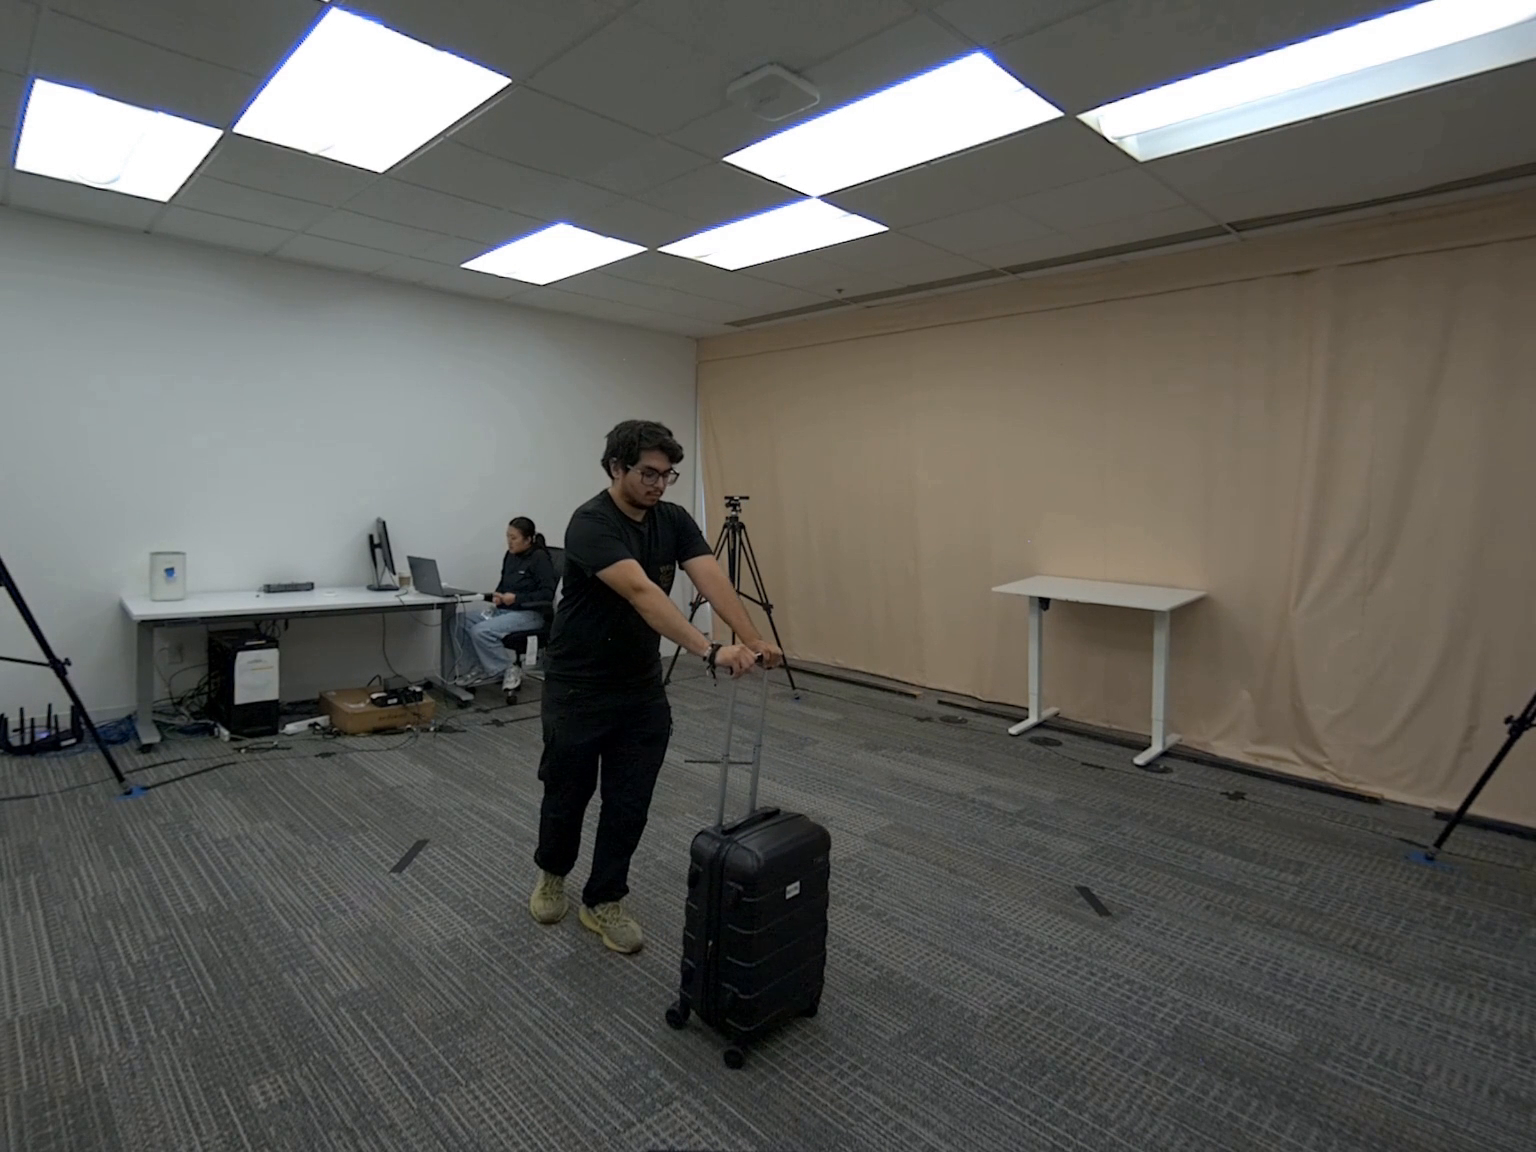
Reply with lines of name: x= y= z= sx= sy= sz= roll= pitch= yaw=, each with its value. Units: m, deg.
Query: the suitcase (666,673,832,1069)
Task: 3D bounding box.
suitcase: x=-0.014 y=0.718 z=2.200 sx=0.264 sy=0.975 sz=0.375 roll=10 pitch=7 yaw=43
